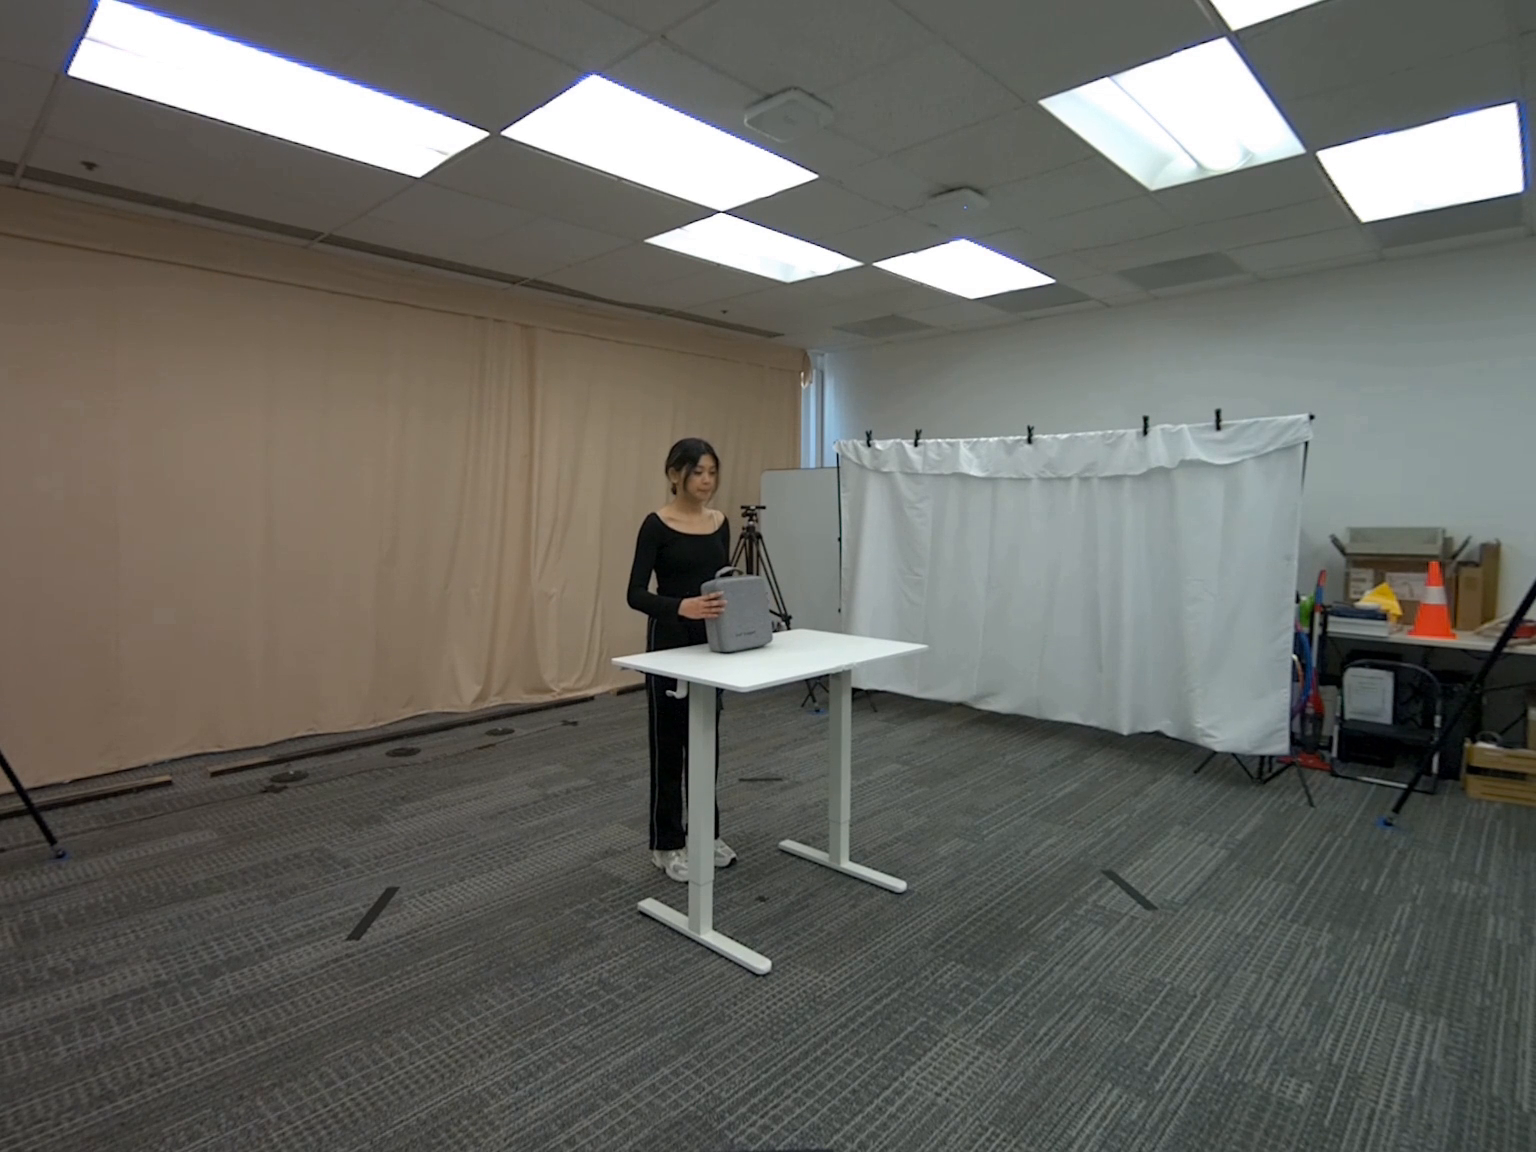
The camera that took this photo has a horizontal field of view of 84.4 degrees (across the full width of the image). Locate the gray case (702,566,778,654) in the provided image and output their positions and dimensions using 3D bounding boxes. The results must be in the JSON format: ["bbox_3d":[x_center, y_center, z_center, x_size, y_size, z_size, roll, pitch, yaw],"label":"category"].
[{"bbox_3d":[-0.105,0.129,2.982,0.107,0.261,0.249,-10,-4,43],"label":"gray case"}]
